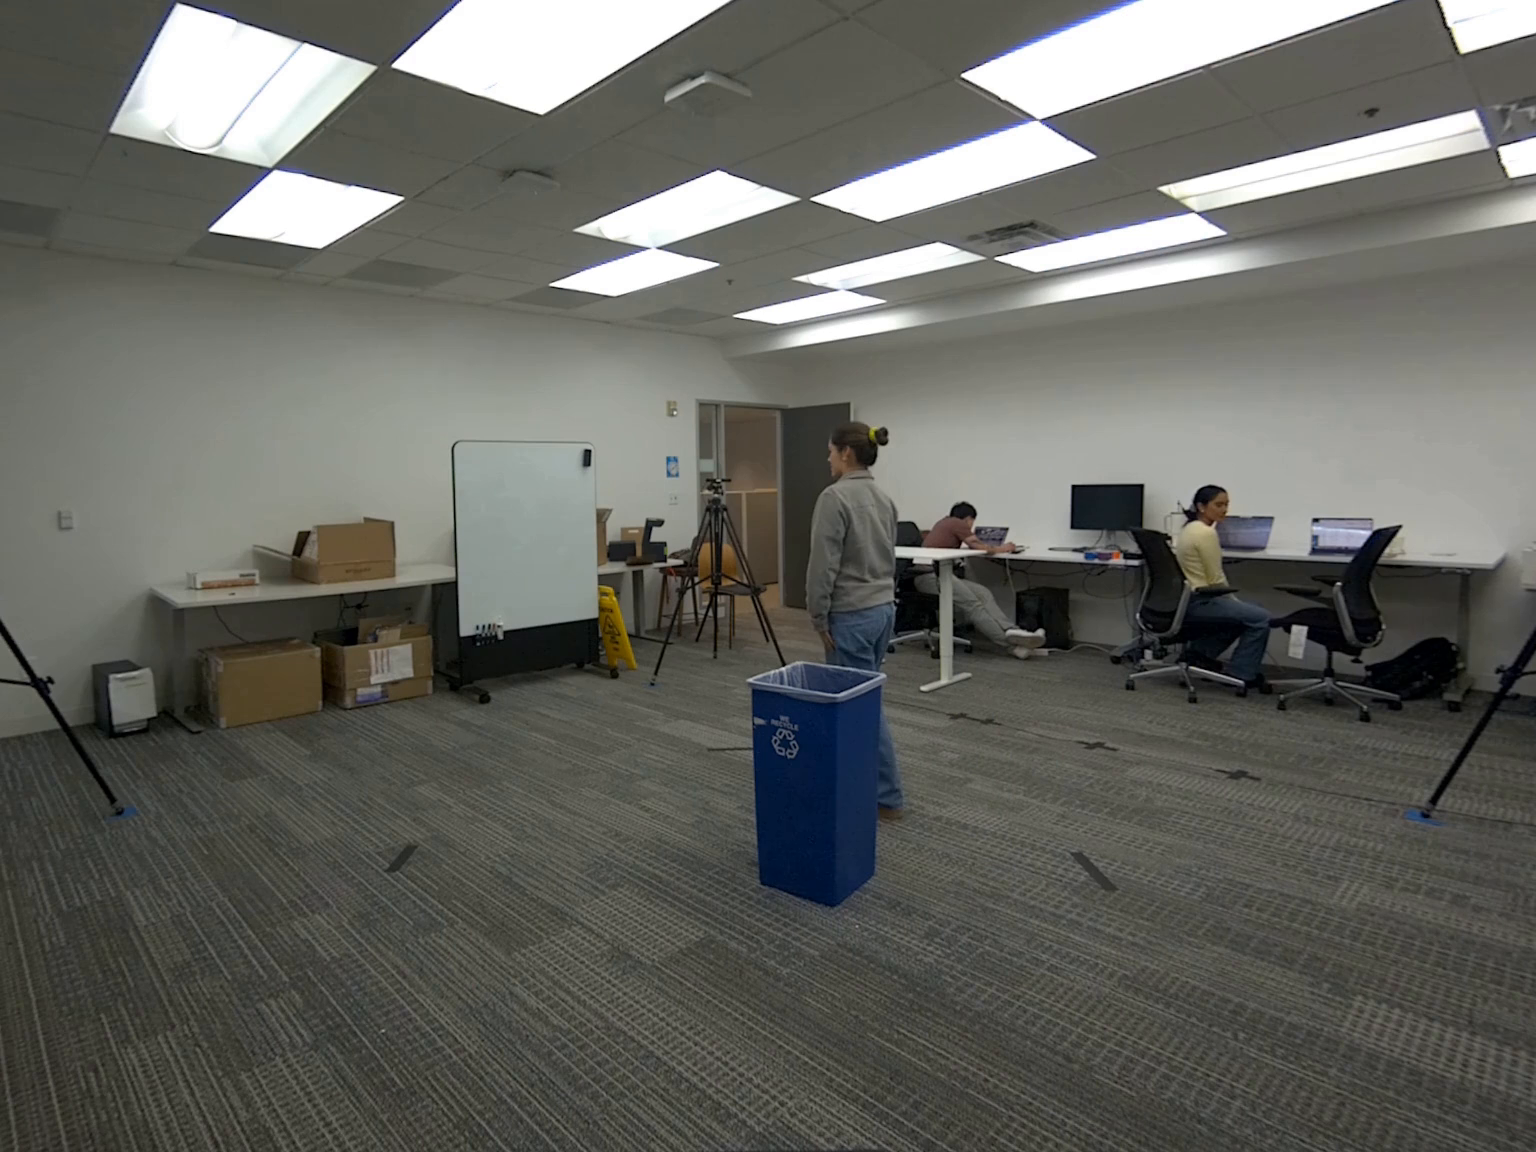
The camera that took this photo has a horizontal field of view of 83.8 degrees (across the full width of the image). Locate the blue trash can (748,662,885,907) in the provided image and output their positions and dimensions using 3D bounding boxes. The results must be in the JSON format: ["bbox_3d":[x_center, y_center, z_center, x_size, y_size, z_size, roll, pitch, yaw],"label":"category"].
[{"bbox_3d":[0.177,0.699,2.954,0.385,0.711,0.369,2,5,35],"label":"blue trash can"}]
